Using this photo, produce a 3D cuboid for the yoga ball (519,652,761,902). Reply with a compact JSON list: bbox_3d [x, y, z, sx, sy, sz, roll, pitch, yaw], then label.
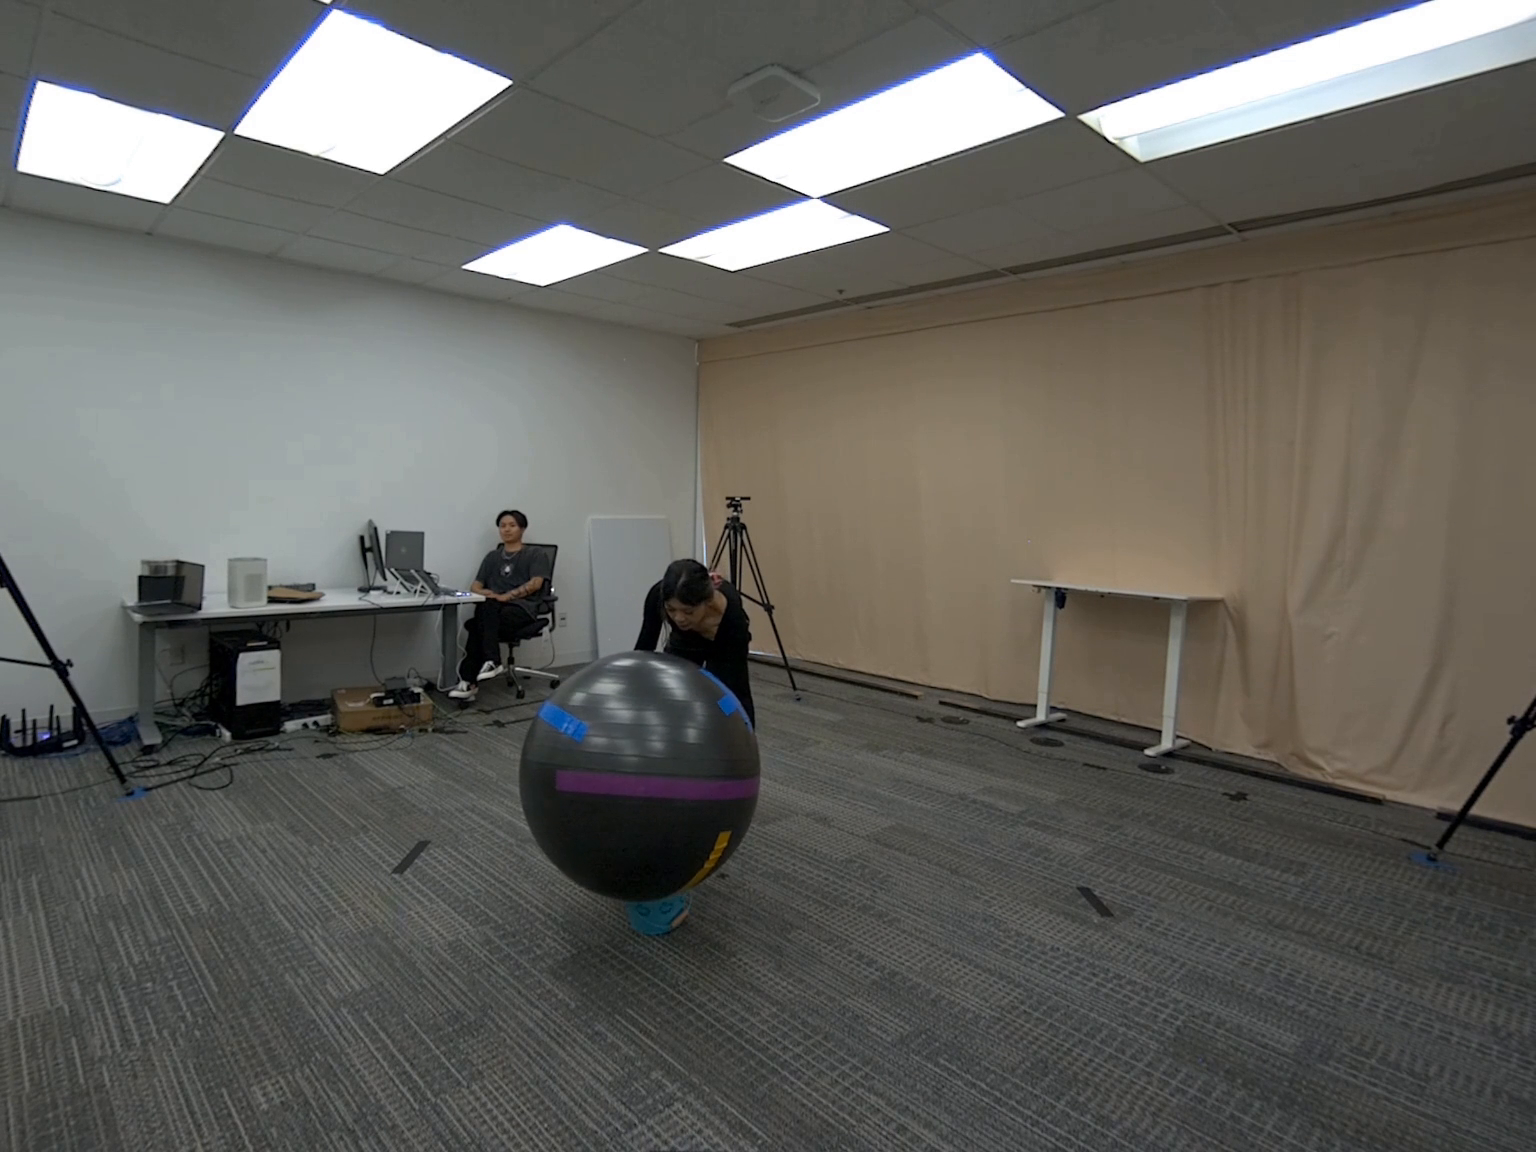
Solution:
[{"bbox_3d":[-0.410,0.625,2.665,0.757,0.756,0.761,1,4,-1],"label":"yoga ball"}]
